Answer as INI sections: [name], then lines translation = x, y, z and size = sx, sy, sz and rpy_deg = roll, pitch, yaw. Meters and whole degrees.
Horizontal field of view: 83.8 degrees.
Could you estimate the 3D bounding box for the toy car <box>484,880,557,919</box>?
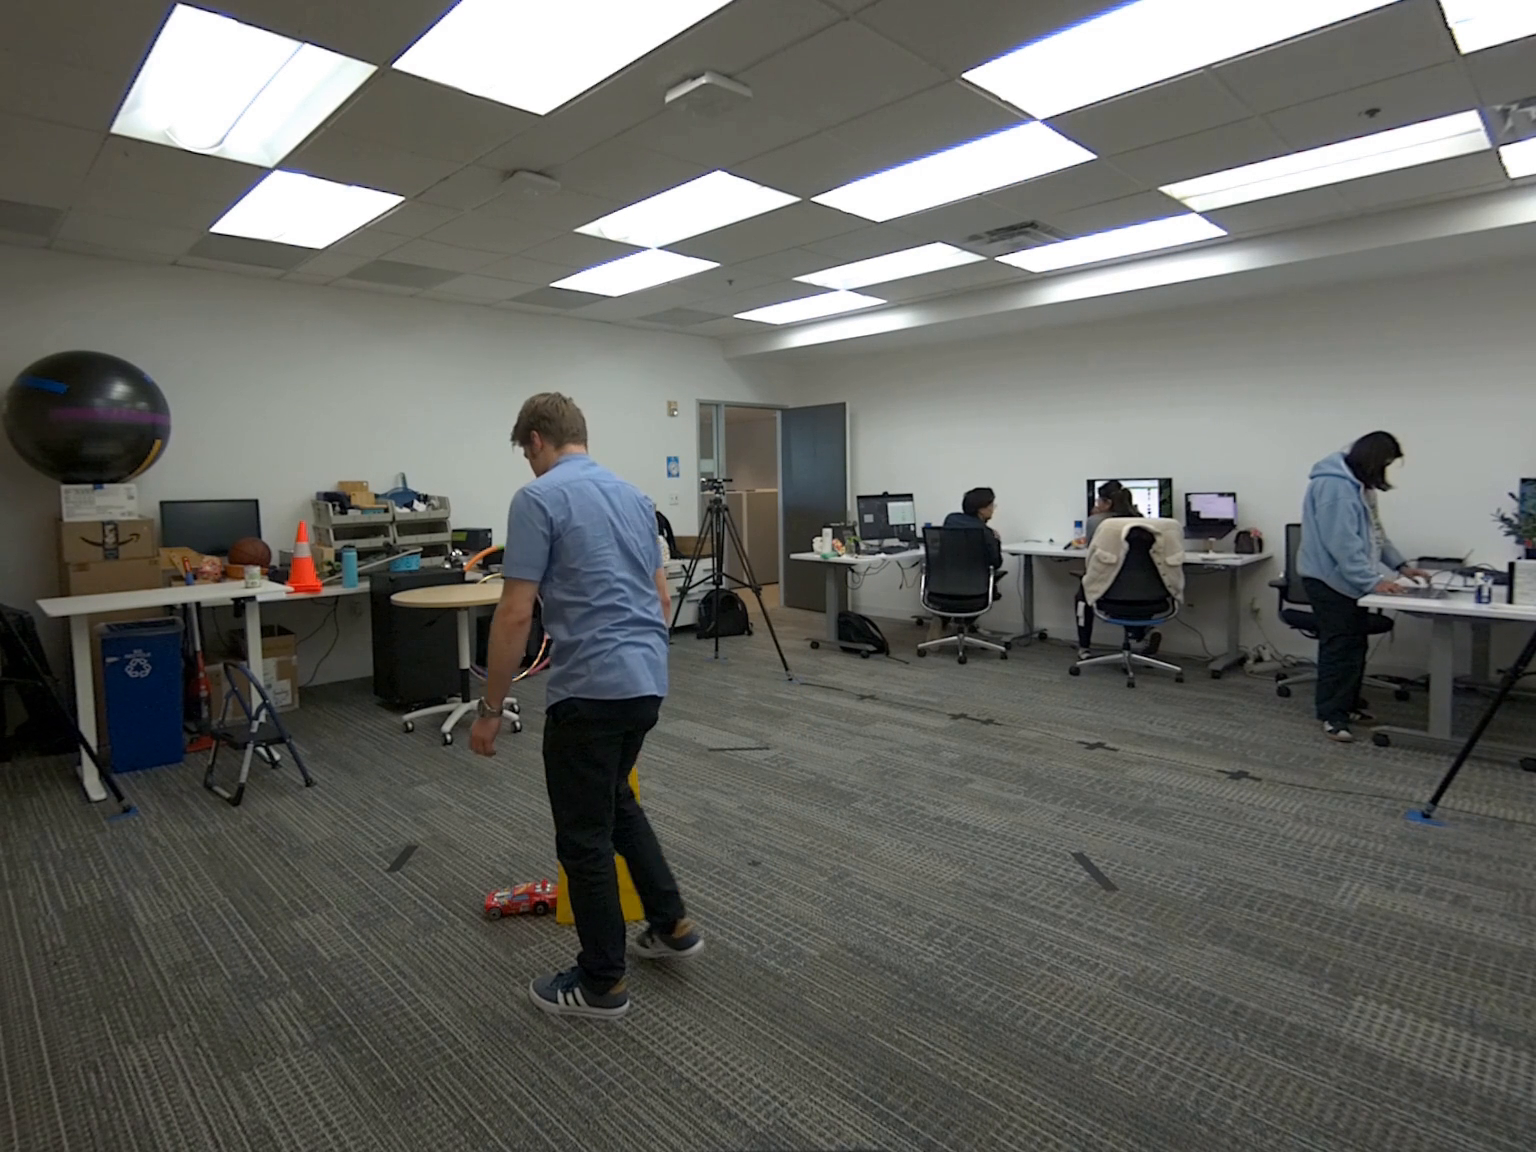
[toy car]
translation = -0.796, 1.064, 2.807
size = 0.253, 0.083, 0.131
rpy_deg = -12, 6, -6
